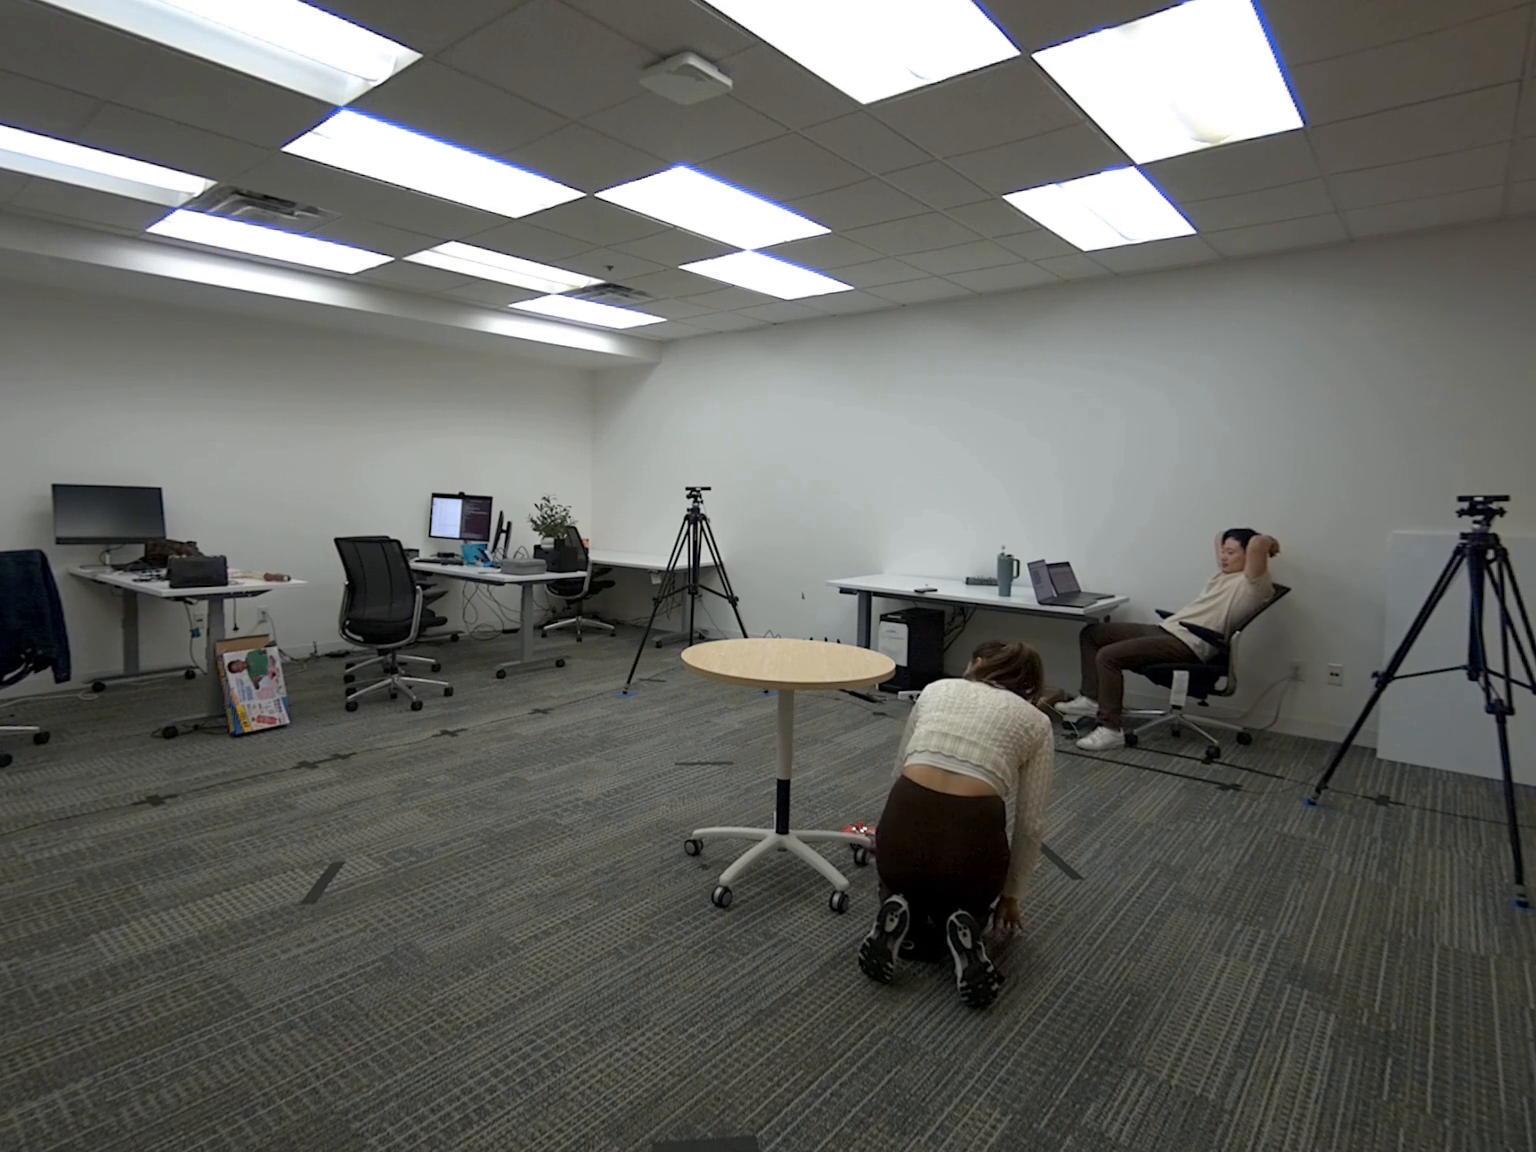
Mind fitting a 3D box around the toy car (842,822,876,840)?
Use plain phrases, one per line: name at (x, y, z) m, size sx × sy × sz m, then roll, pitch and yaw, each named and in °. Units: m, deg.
toy car at (0.407, 1.024, 3.304) m, size 0.263 × 0.082 × 0.127 m, roll 16°, pitch 13°, yaw 31°
